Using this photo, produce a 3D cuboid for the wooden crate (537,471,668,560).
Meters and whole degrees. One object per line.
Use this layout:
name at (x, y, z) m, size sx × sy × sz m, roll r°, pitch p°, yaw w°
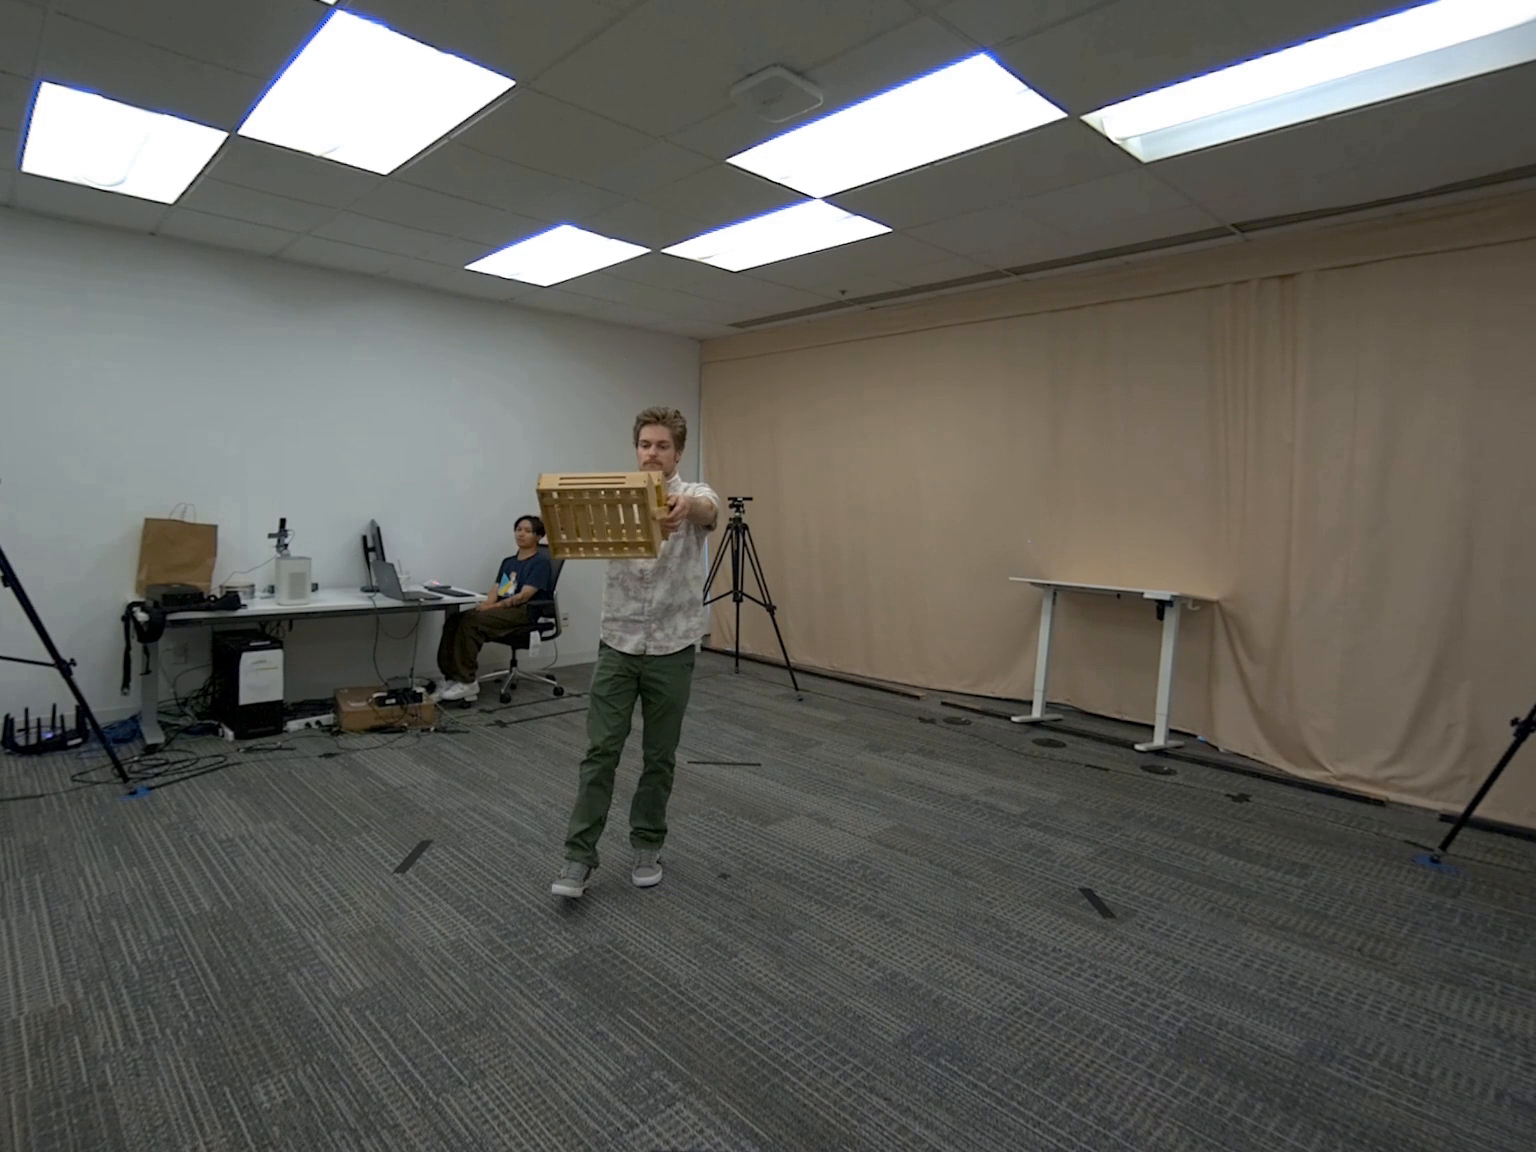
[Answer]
wooden crate at (-0.467, -0.203, 2.392) m, size 0.326 × 0.295 × 0.278 m, roll -1°, pitch 34°, yaw 5°
